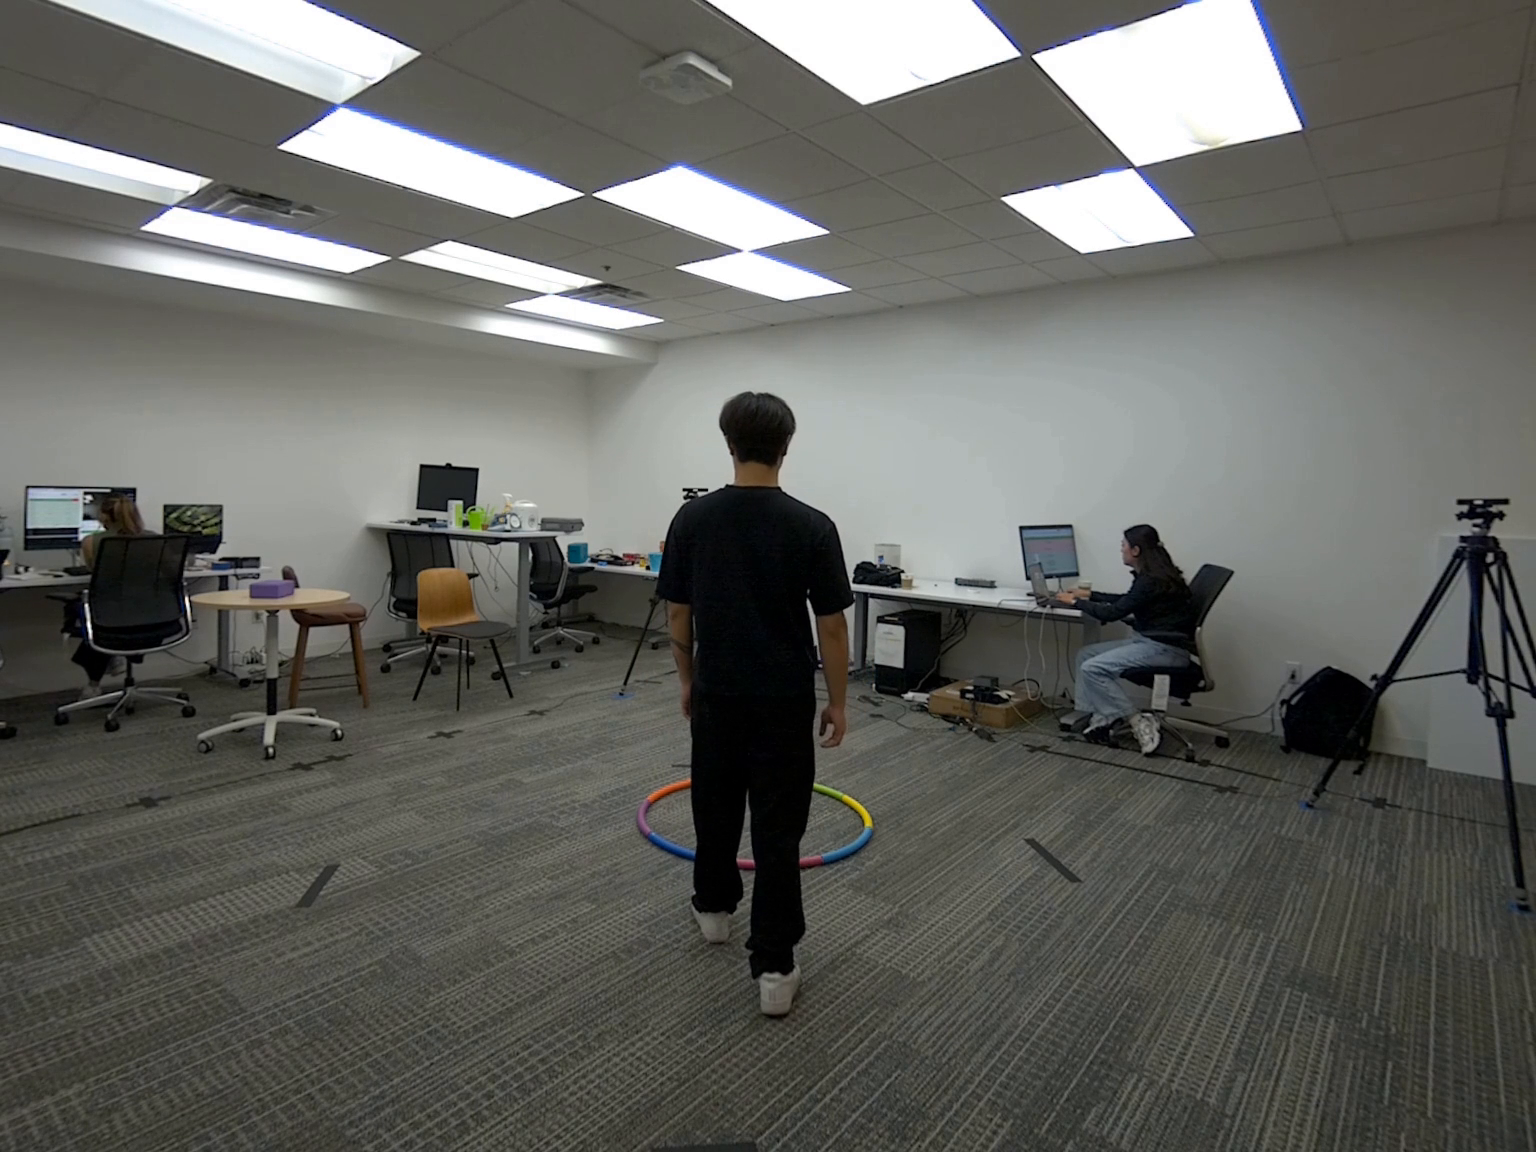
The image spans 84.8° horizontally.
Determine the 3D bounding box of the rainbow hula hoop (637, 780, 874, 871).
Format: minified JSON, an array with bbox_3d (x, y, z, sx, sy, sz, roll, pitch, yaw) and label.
[{"bbox_3d":[-0.070,0.995,3.581,0.978,0.035,0.984,1,6,-2],"label":"rainbow hula hoop"}]
